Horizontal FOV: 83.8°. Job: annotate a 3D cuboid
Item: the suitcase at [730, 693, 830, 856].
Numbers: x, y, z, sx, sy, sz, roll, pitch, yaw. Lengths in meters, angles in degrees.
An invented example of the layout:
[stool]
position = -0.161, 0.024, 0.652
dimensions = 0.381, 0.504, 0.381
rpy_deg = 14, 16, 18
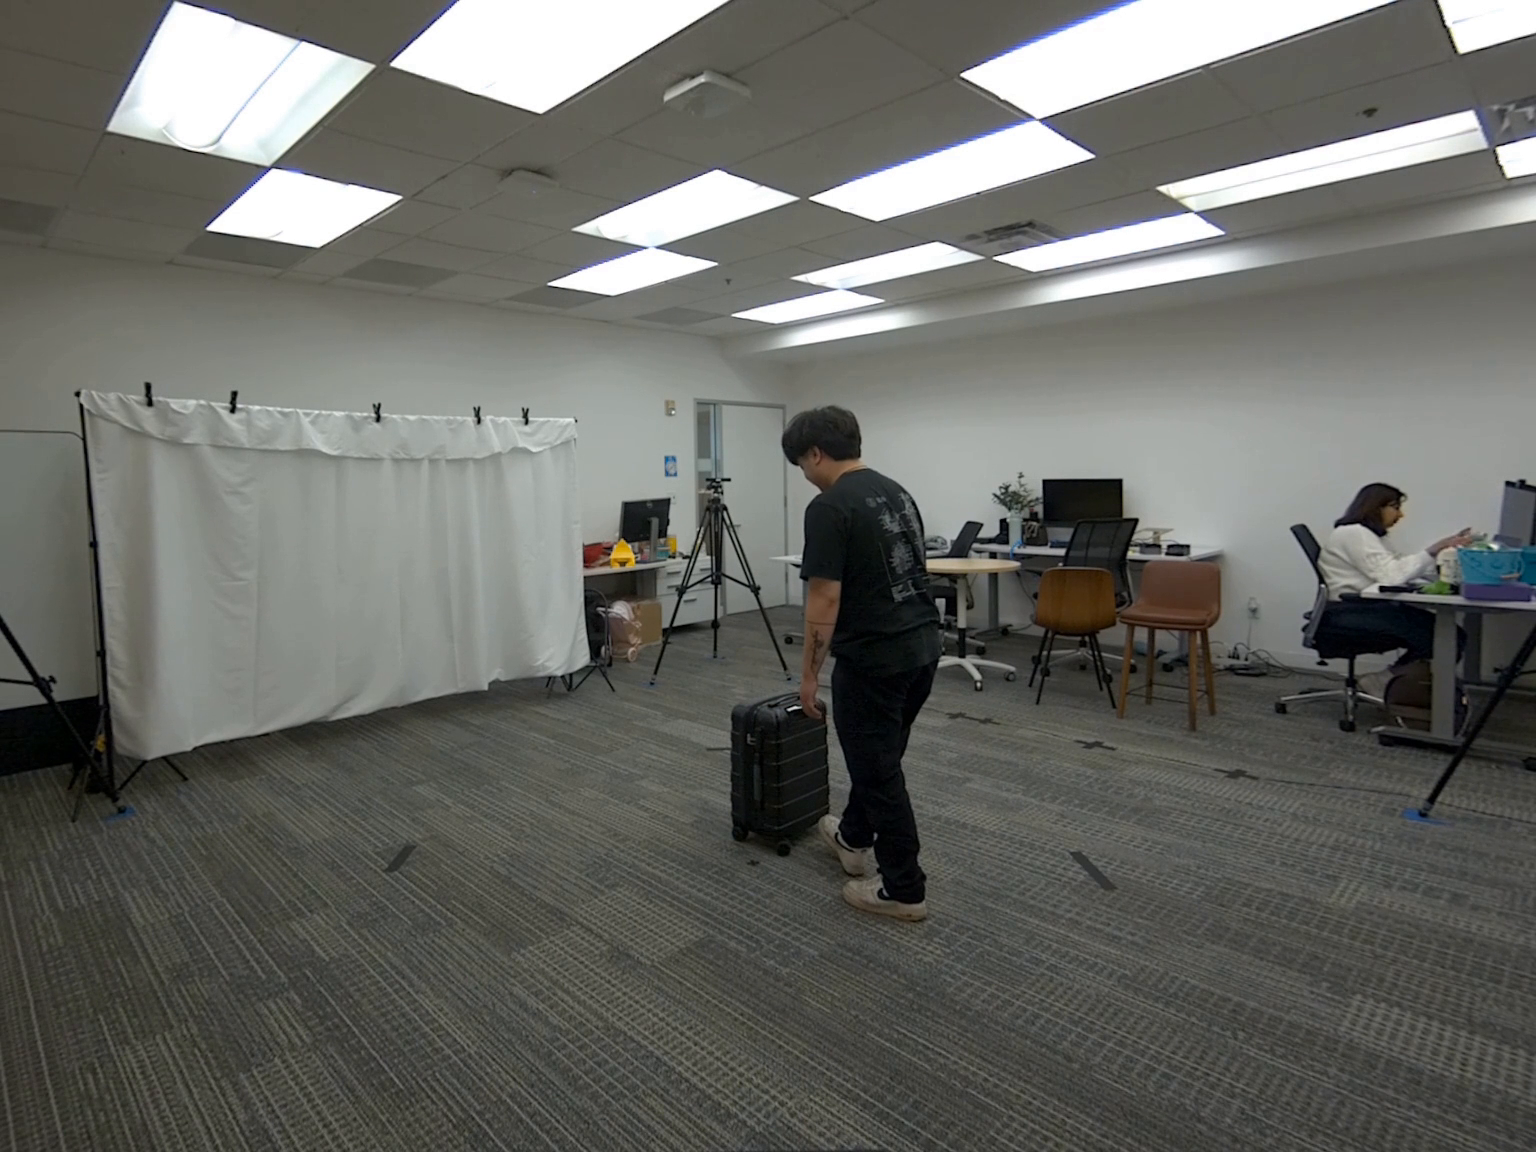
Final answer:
[suitcase]
position = 0.051, 0.738, 3.334
dimensions = 0.256, 0.547, 0.366
rpy_deg = 2, 6, 43
